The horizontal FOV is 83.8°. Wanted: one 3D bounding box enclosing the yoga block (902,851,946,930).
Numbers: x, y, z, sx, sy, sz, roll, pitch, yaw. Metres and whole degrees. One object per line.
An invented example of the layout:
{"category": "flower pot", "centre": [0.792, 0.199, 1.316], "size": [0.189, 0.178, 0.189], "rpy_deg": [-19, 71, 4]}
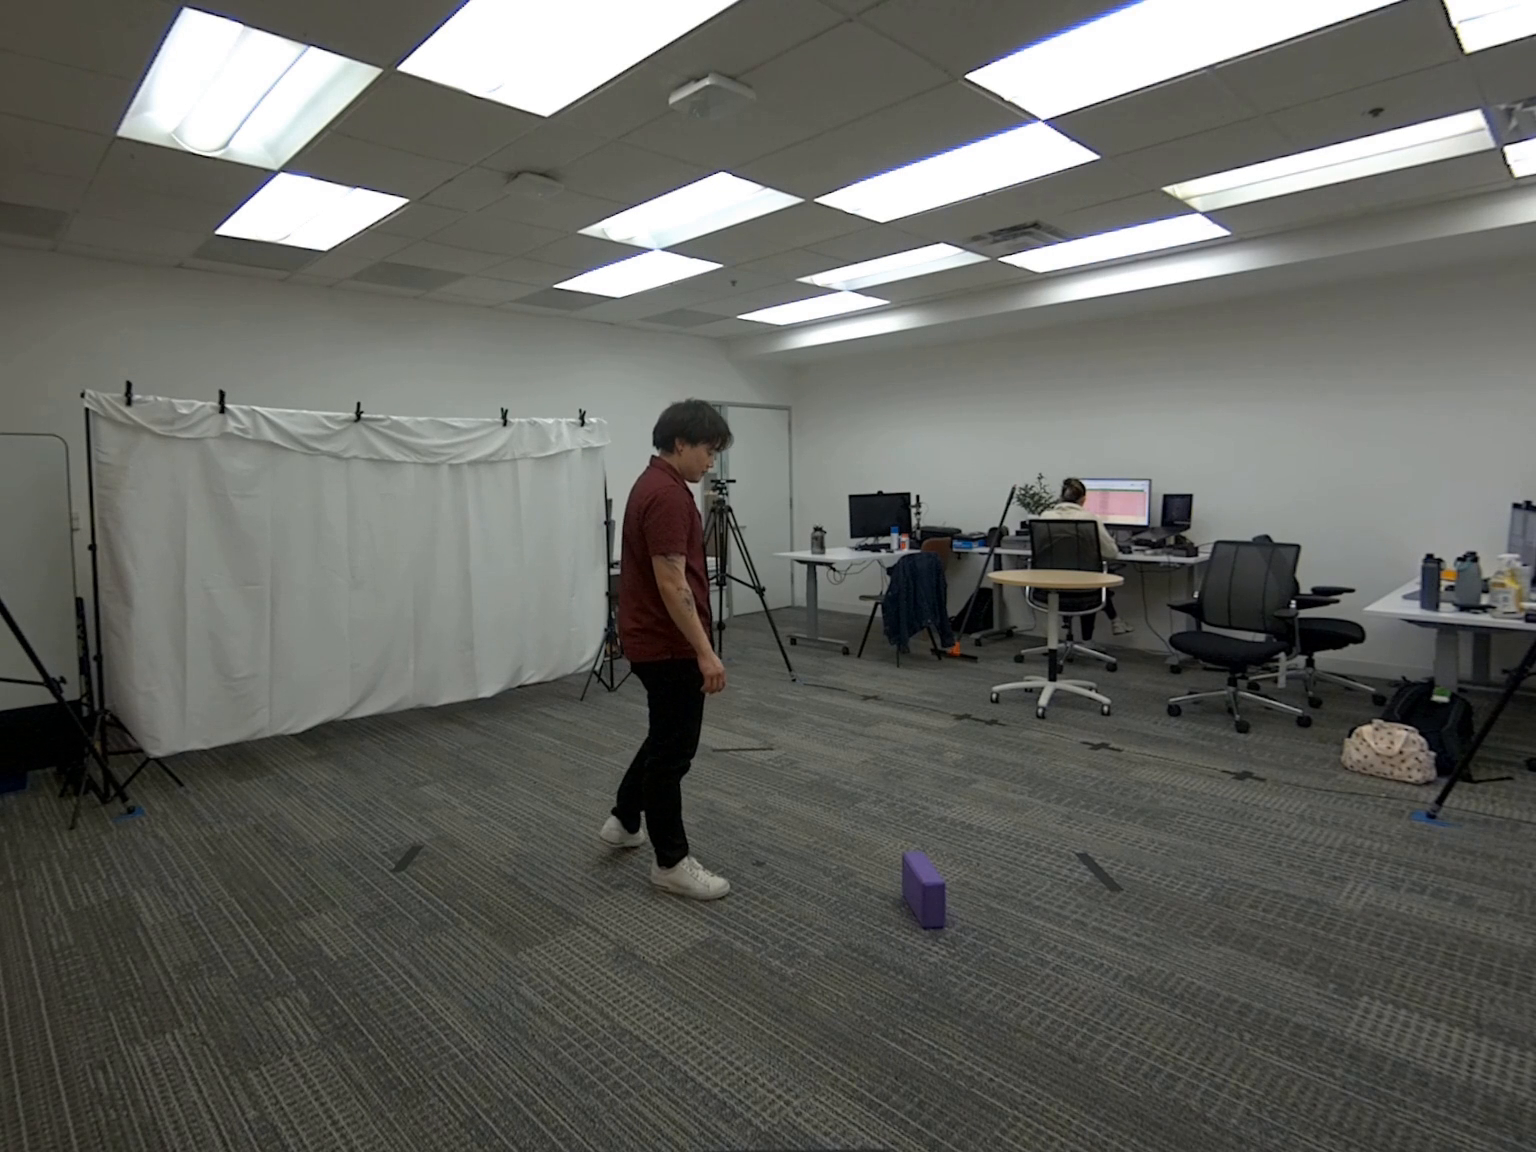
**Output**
{"category": "yoga block", "centre": [0.504, 1.001, 2.732], "size": [0.076, 0.148, 0.231], "rpy_deg": [2, 4, -7]}
